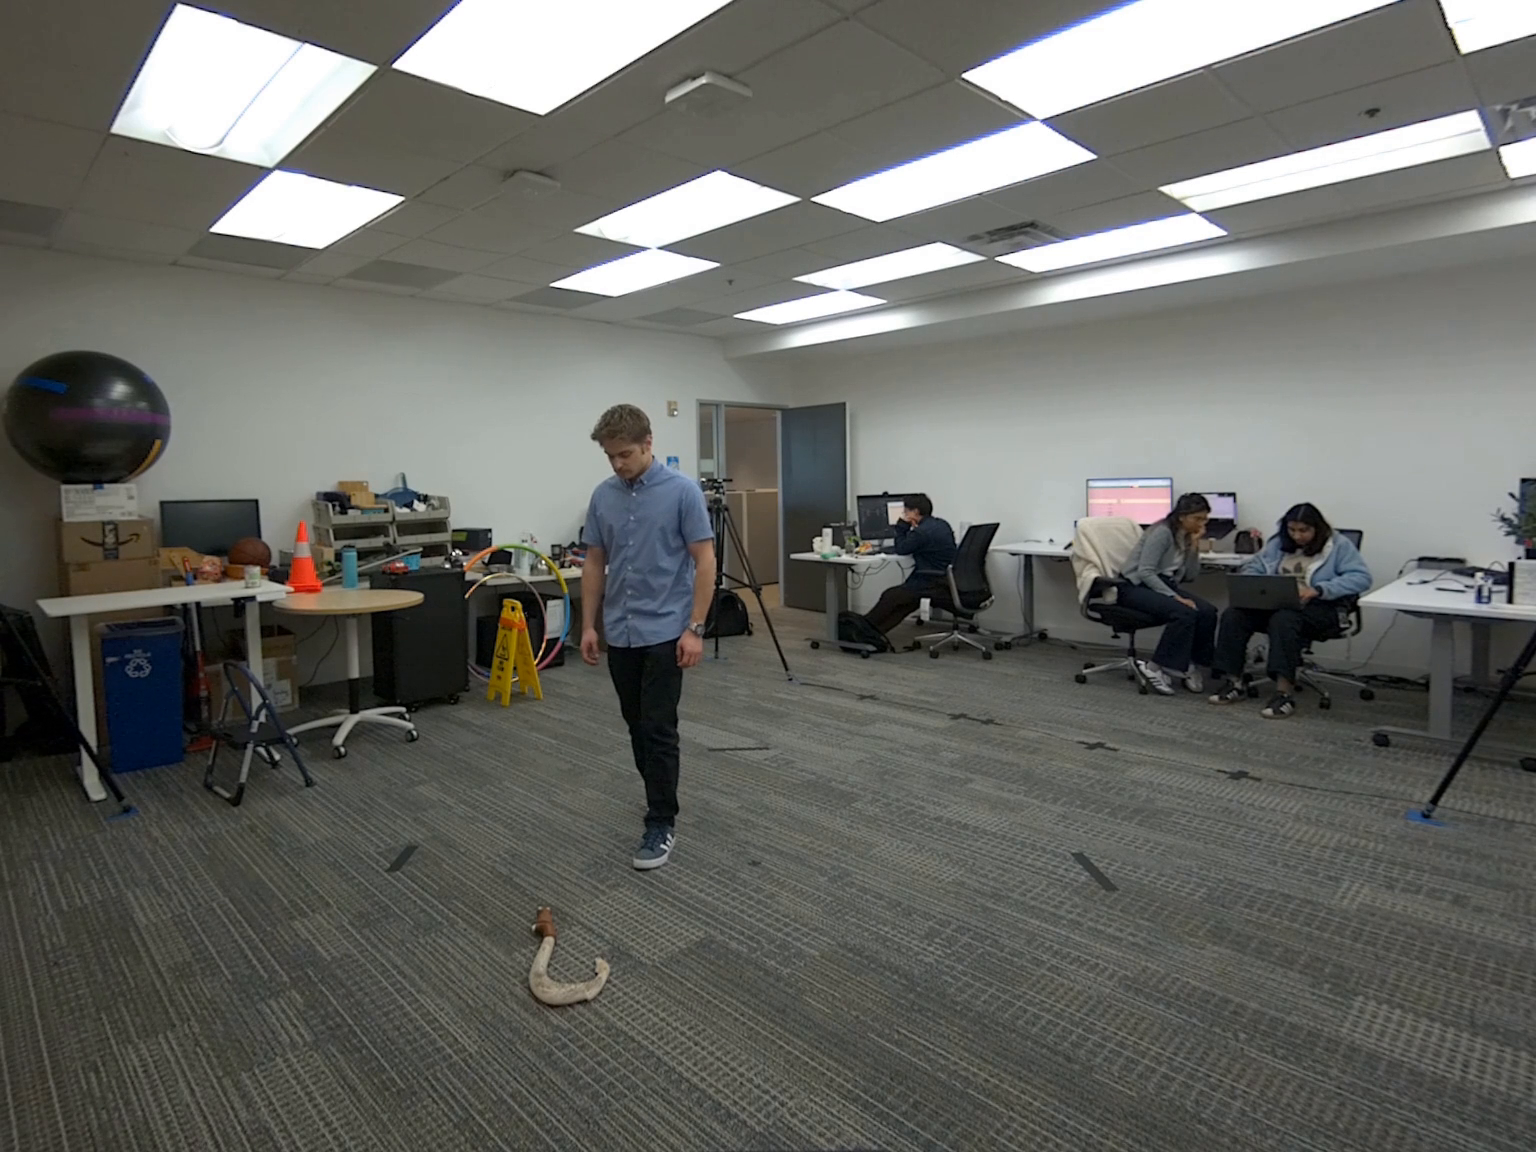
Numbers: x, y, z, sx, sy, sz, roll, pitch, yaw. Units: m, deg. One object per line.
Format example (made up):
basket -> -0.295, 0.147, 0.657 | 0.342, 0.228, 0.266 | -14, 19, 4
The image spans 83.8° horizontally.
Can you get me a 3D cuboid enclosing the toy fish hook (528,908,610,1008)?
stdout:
toy fish hook -> -0.595, 1.112, 2.523 | 0.221, 0.048, 0.517 | 5, 6, -18
